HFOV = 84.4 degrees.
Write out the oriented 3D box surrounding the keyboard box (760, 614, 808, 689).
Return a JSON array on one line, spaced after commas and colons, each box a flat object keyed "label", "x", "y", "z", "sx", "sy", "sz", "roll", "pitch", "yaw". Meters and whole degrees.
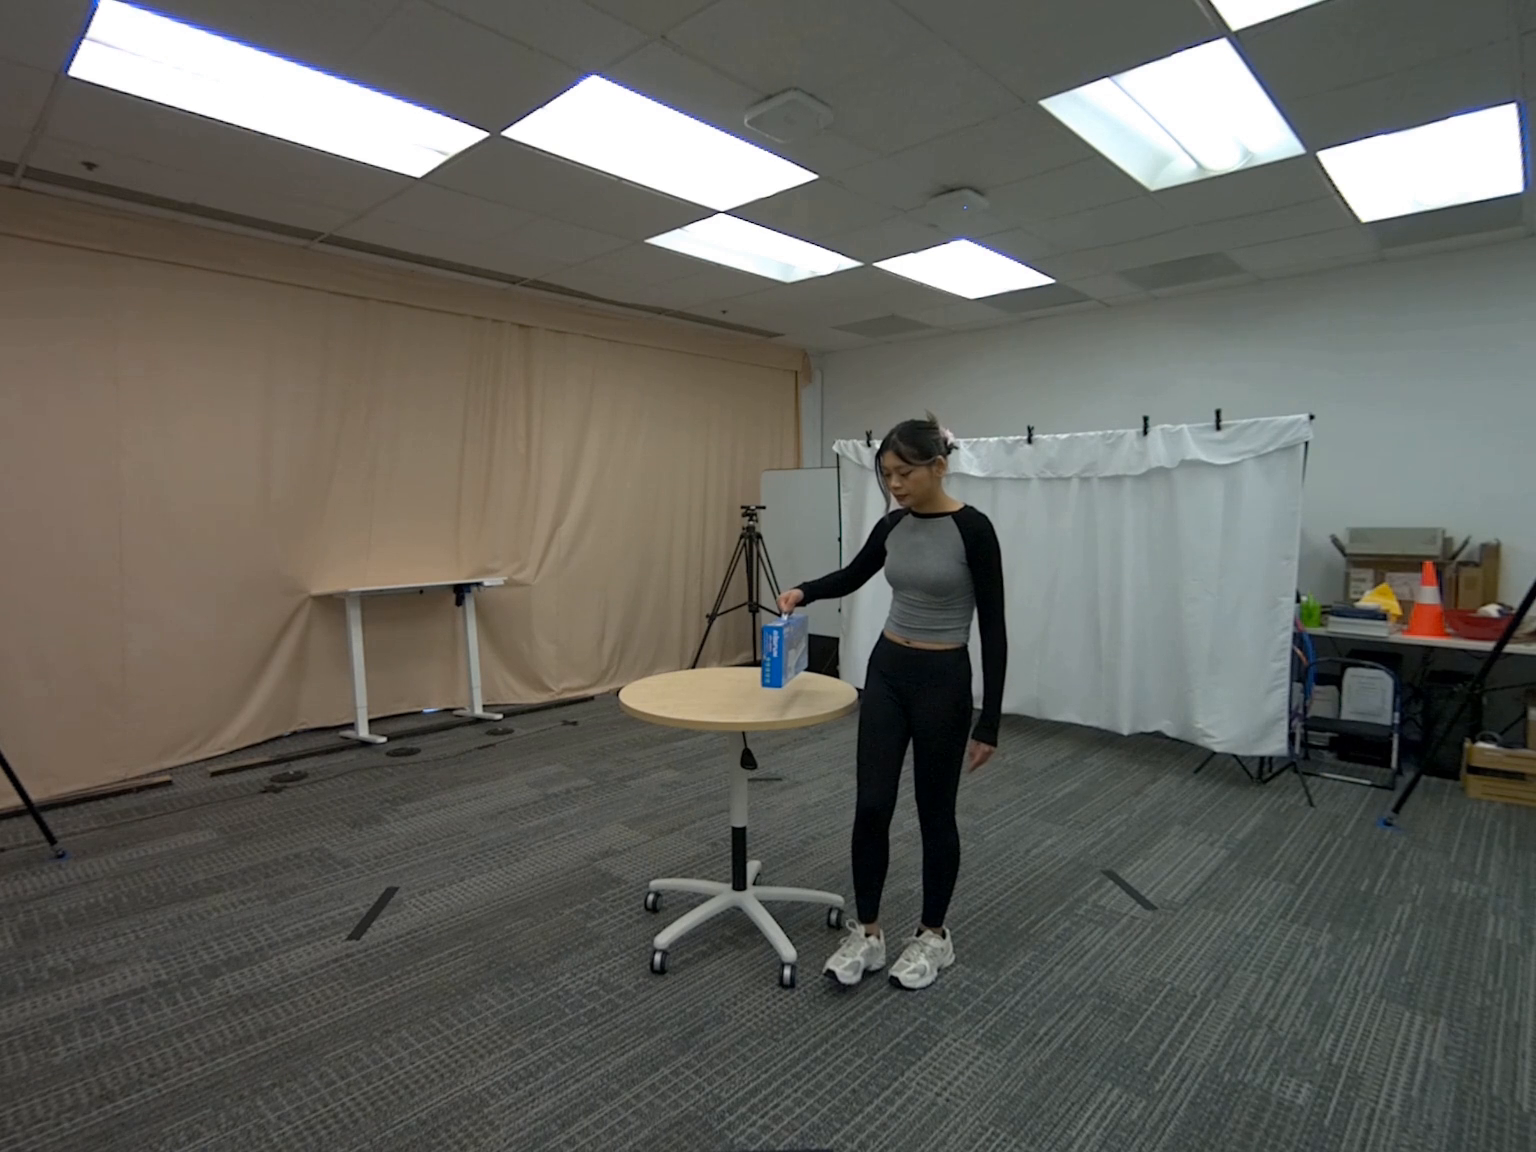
[{"label": "keyboard box", "x": 0.057, "y": 0.218, "z": 2.531, "sx": 0.060, "sy": 0.176, "sz": 0.430, "roll": 2, "pitch": 1, "yaw": 13}]
